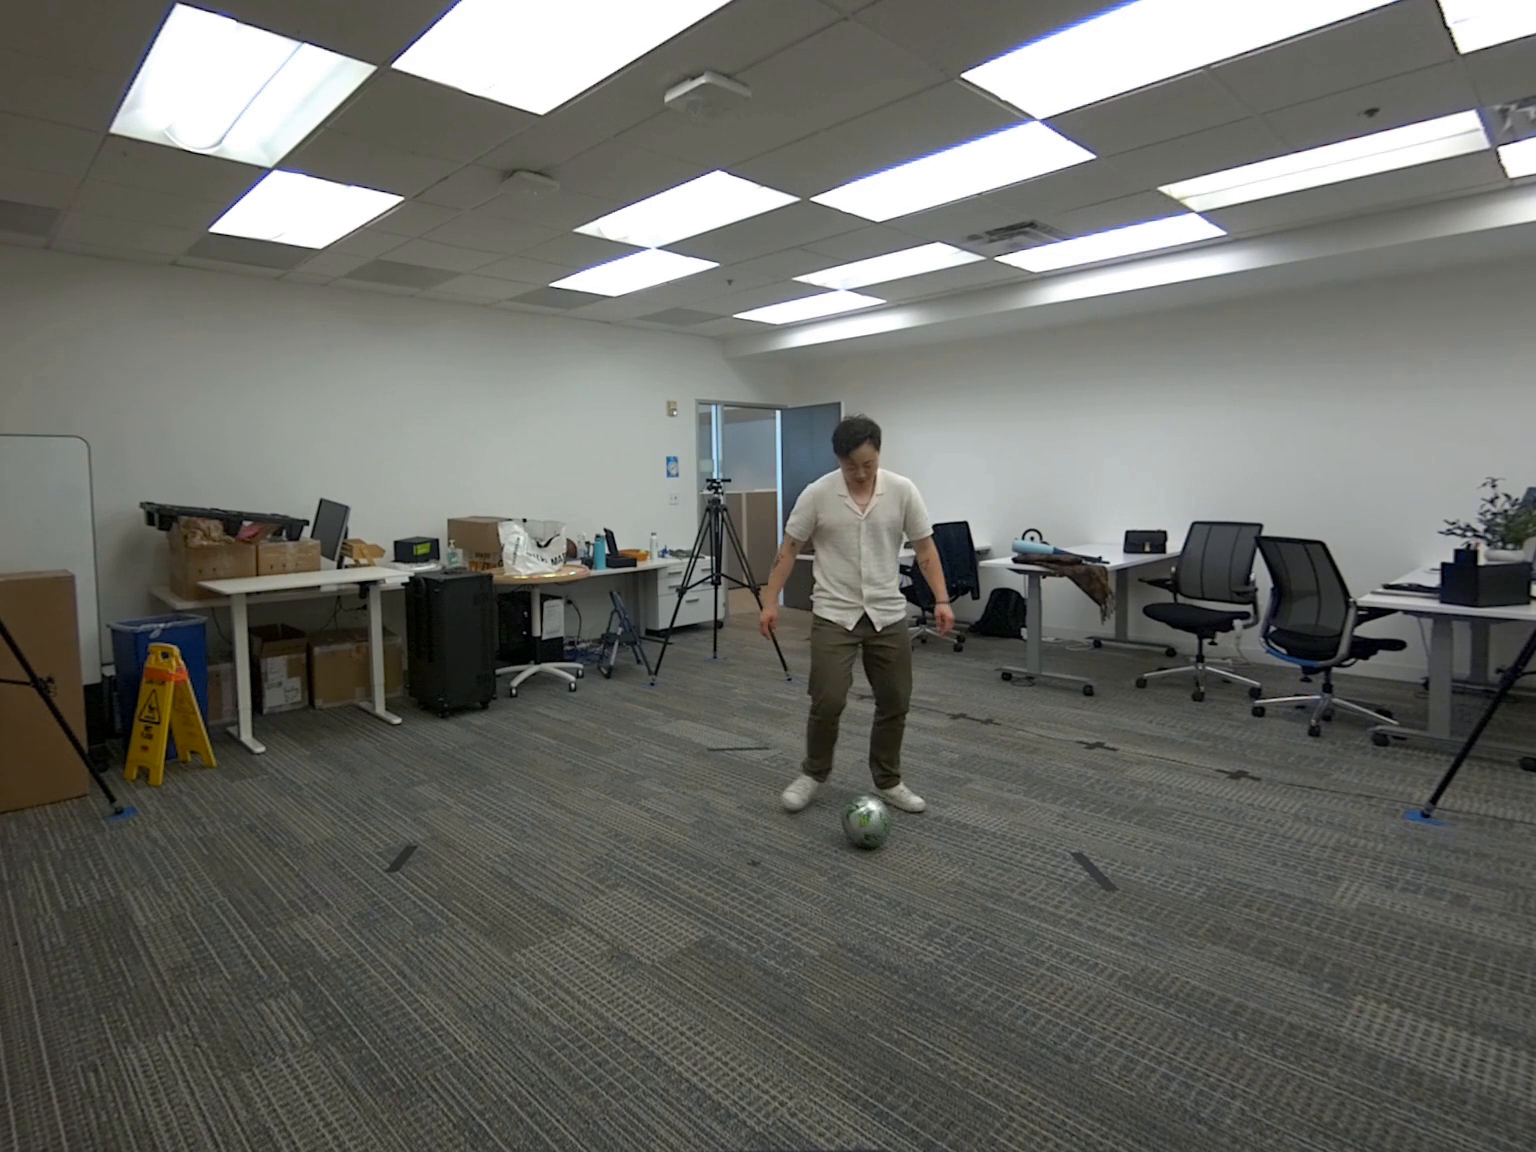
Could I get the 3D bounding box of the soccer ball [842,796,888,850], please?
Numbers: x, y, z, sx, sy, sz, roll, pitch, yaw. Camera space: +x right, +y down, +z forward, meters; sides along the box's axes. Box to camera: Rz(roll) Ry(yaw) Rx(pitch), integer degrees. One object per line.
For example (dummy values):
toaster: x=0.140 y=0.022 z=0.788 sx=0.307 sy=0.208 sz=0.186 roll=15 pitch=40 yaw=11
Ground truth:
soccer ball: x=0.370 y=0.929 z=3.235 sx=0.187 sy=0.187 sz=0.188 roll=-1 pitch=5 yaw=-2
